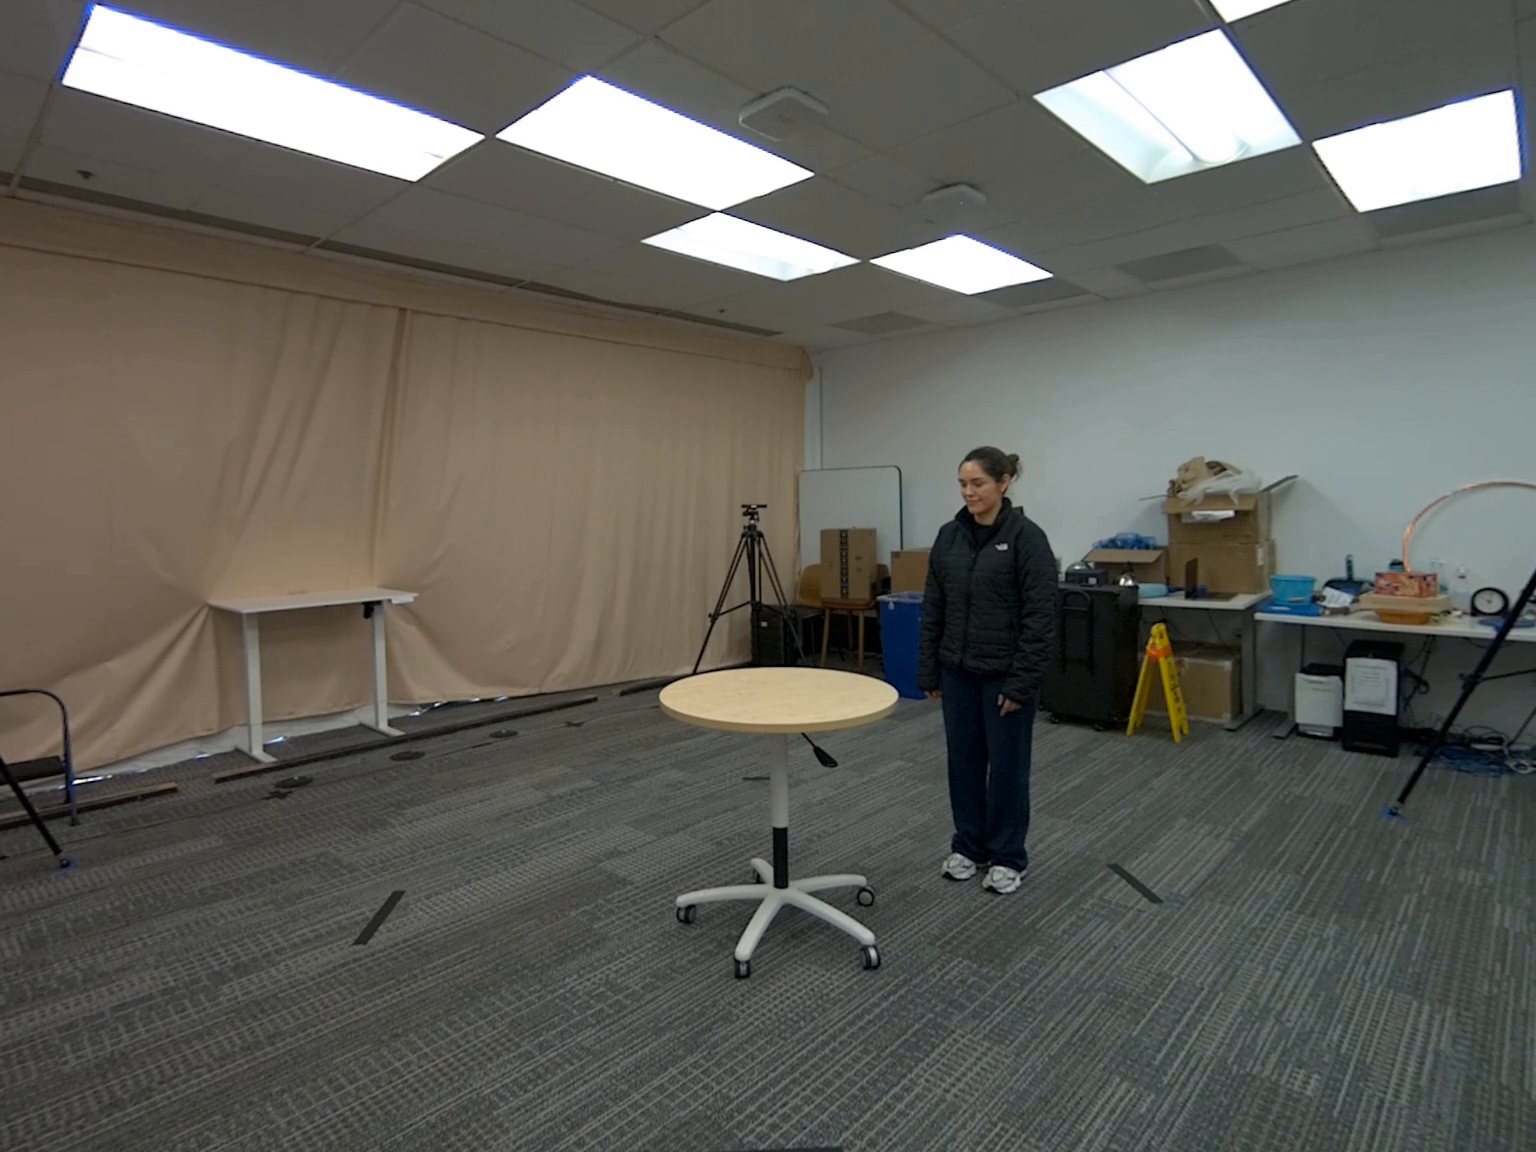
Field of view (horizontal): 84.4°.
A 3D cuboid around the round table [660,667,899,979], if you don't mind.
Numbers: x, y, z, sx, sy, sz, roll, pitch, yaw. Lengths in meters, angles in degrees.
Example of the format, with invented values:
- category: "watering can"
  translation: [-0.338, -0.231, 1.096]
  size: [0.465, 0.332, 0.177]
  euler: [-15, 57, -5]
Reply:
- category: "round table"
  translation: [0.074, 0.767, 2.752]
  size: [0.784, 0.784, 0.788]
  euler: [-1, 5, -2]
